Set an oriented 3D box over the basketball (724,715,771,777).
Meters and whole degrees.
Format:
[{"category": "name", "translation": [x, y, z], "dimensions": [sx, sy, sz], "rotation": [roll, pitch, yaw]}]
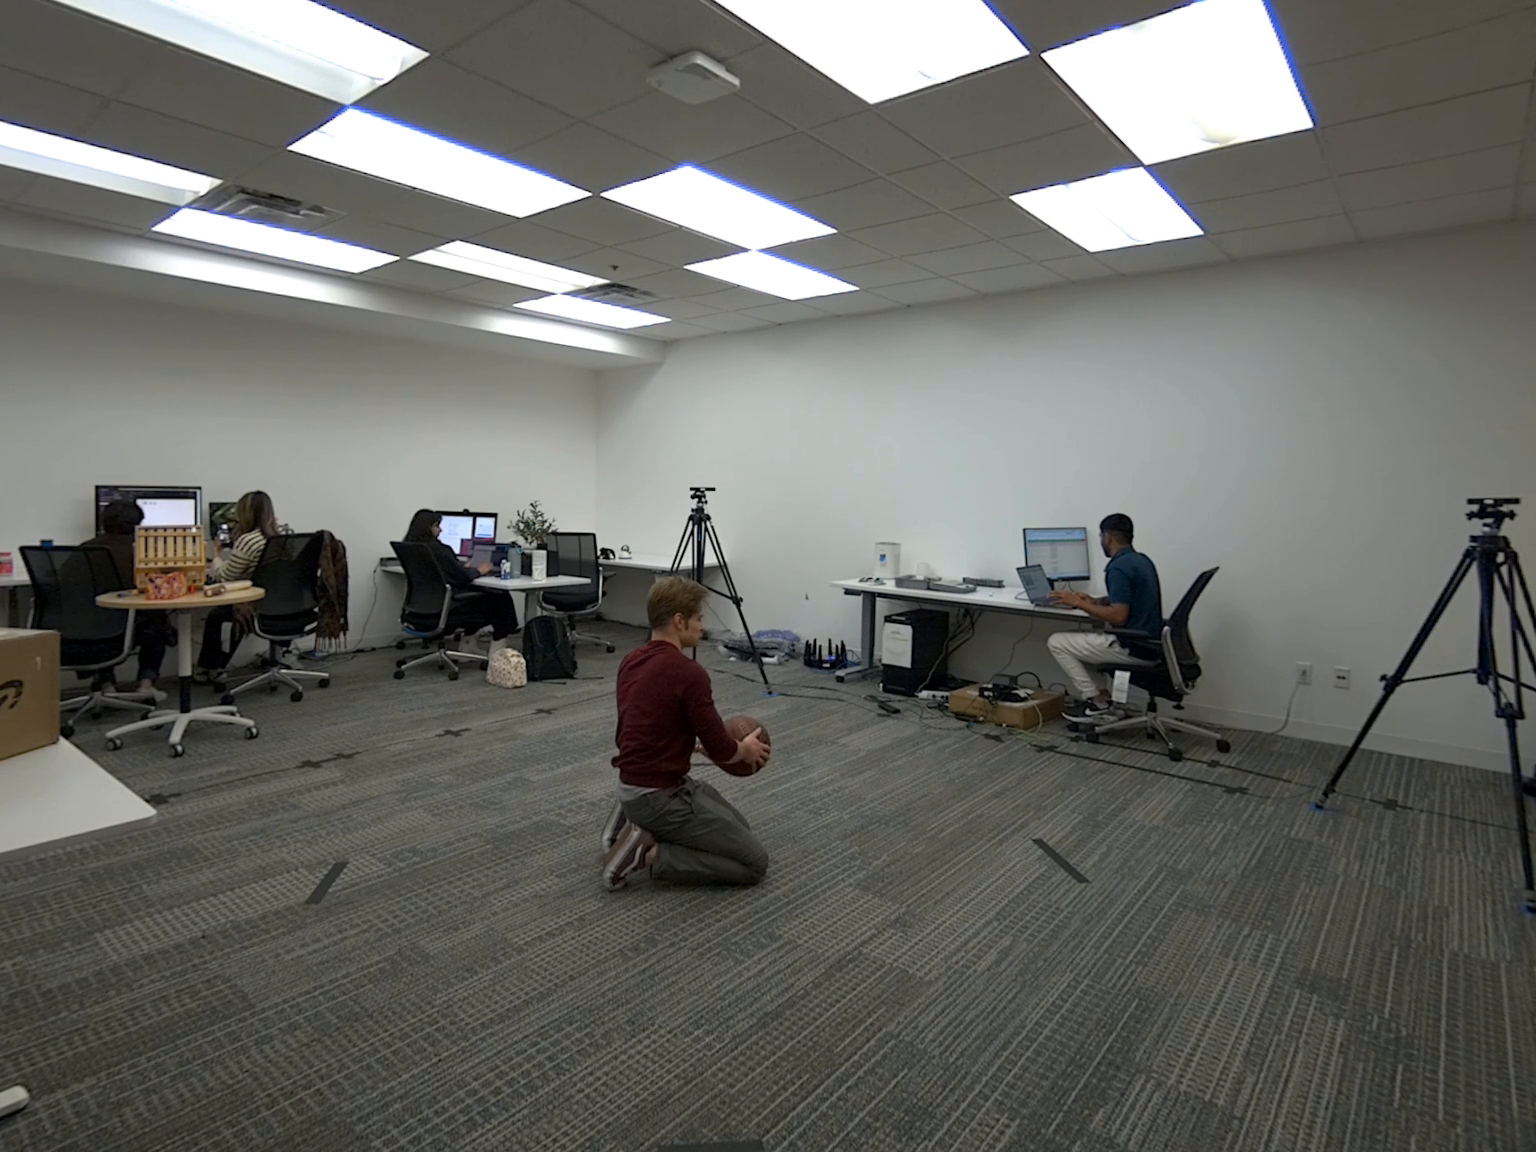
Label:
[{"category": "basketball", "translation": [-0.123, 0.686, 3.414], "dimensions": [0.235, 0.235, 0.237], "rotation": [1, 4, -2]}]
